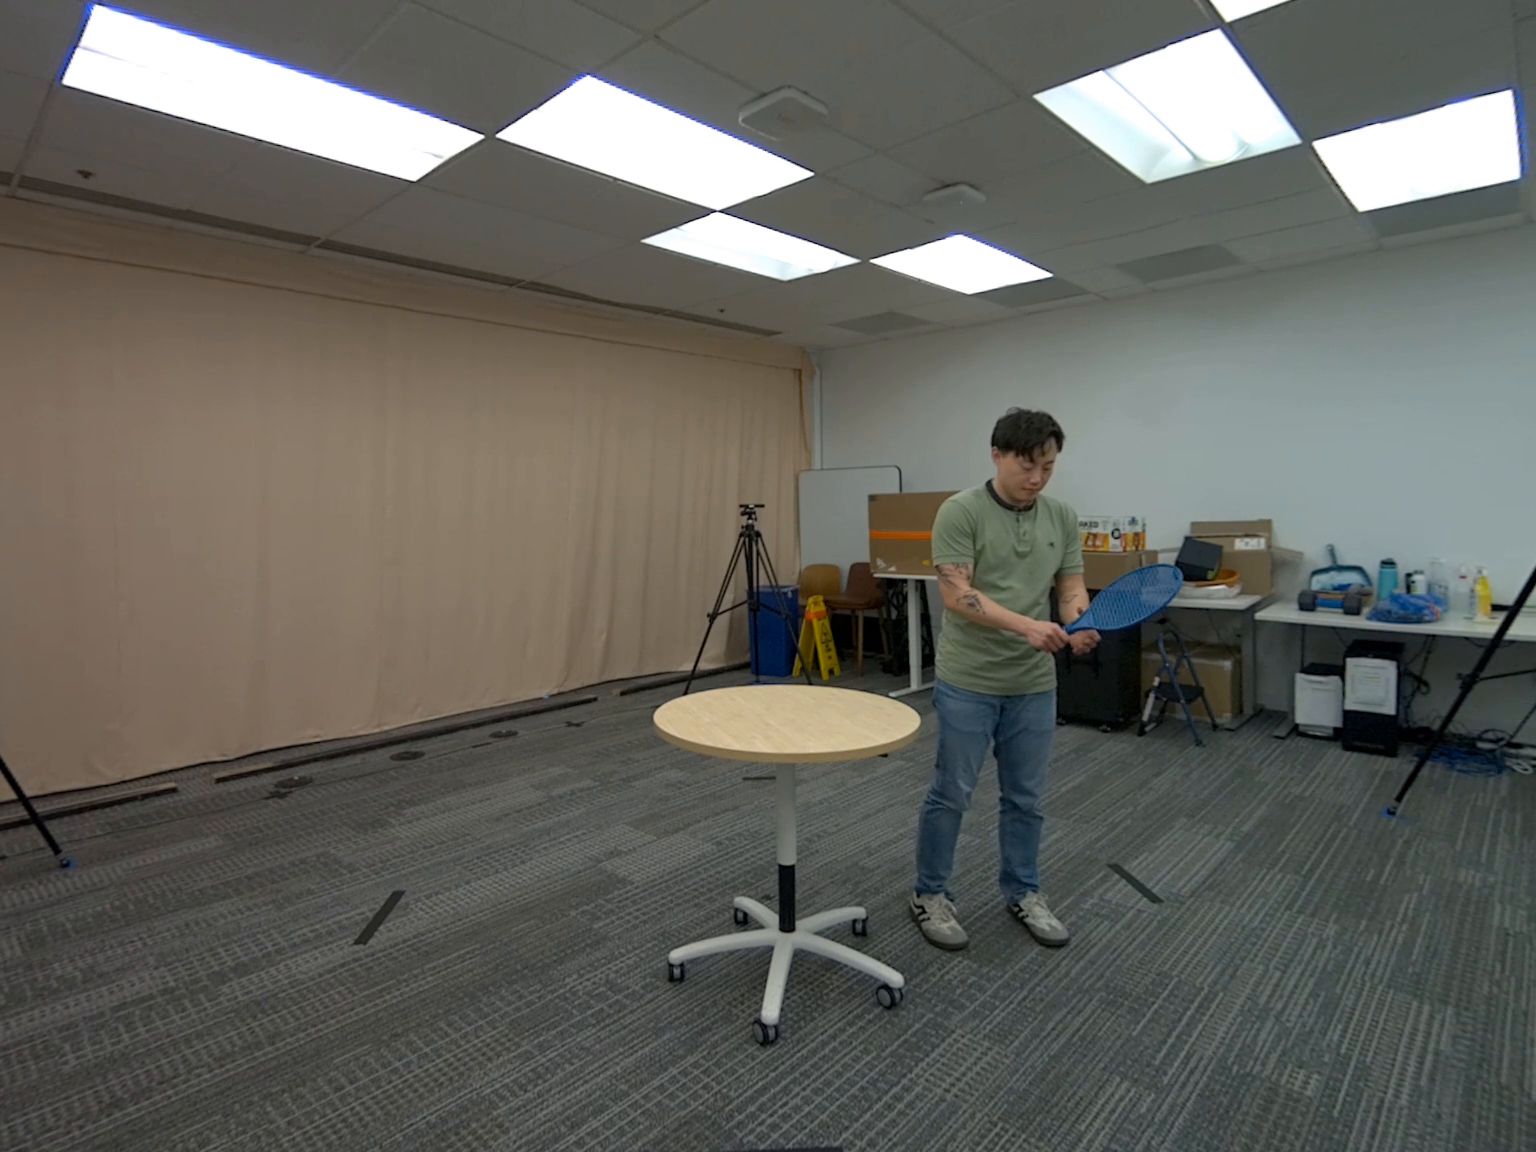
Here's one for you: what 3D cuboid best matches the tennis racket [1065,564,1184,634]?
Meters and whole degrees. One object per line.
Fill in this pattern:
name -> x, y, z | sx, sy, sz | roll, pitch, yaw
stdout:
tennis racket -> 0.933, 0.098, 2.328 | 0.031, 0.215, 0.440 | 37, -42, -19
